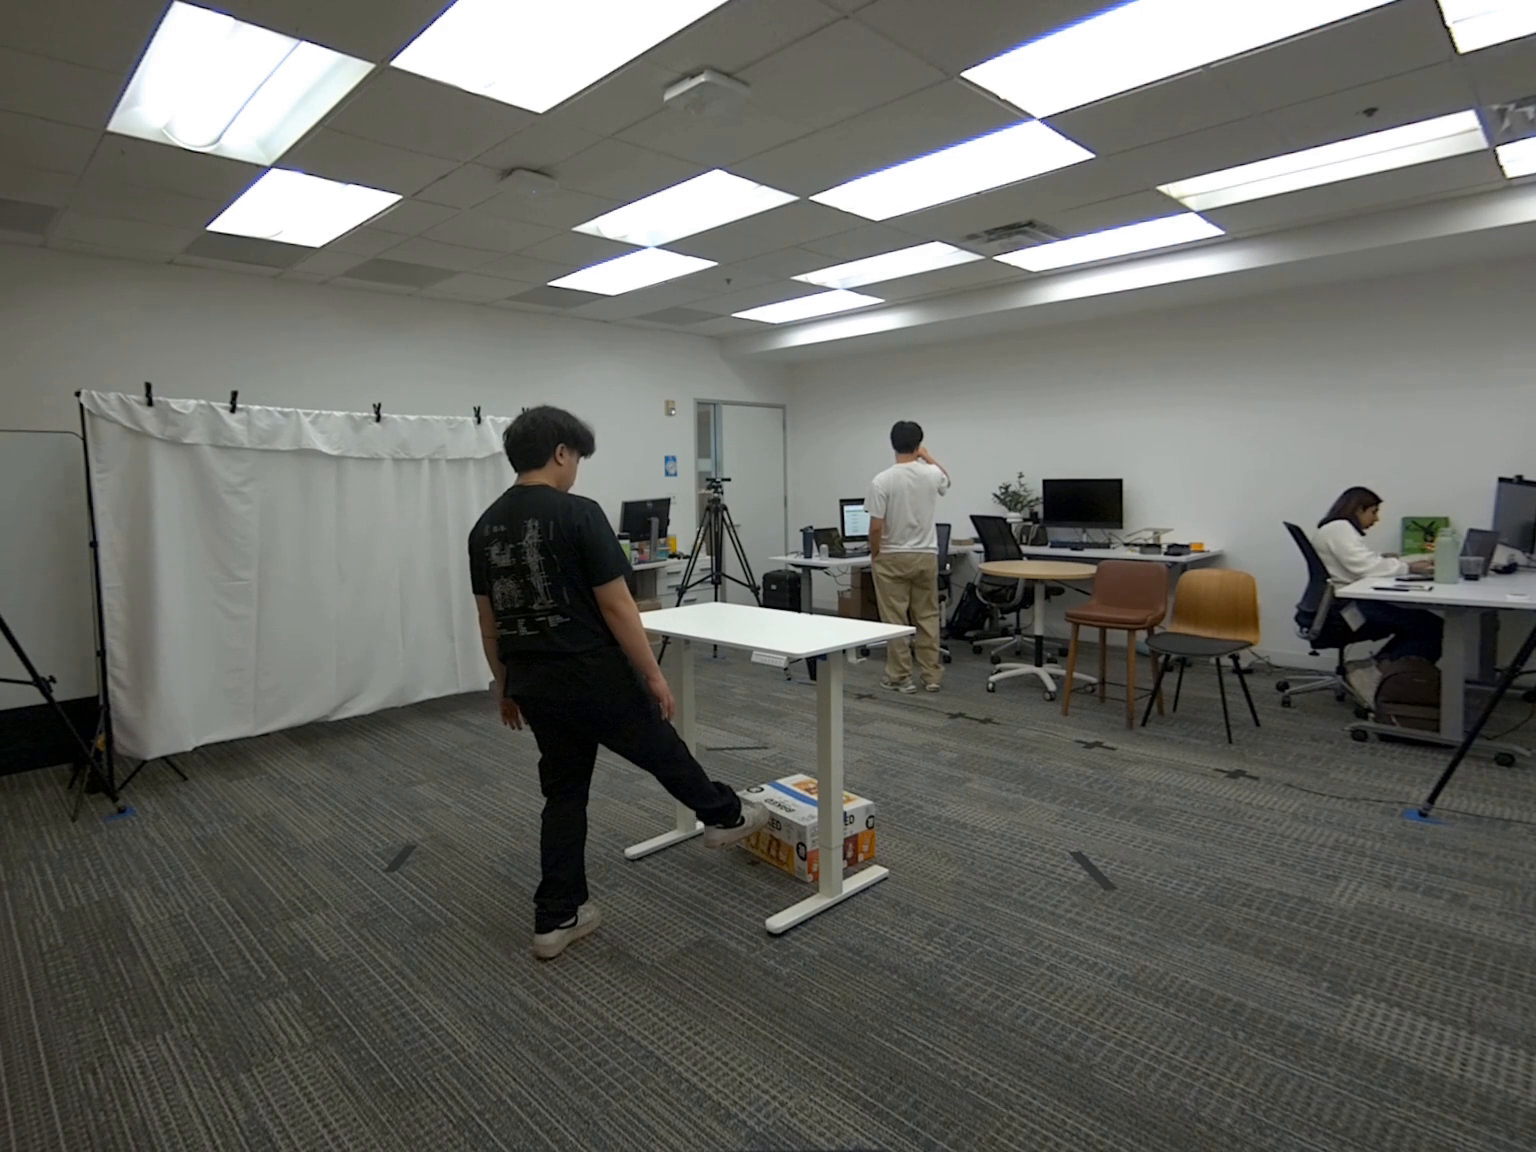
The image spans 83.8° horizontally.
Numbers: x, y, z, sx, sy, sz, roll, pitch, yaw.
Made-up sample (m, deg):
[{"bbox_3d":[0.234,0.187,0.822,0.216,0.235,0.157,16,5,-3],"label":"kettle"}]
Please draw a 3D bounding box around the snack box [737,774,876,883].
[{"bbox_3d":[0.132,0.930,3.190,0.331,0.205,0.417,-5,7,-39],"label":"snack box"}]
